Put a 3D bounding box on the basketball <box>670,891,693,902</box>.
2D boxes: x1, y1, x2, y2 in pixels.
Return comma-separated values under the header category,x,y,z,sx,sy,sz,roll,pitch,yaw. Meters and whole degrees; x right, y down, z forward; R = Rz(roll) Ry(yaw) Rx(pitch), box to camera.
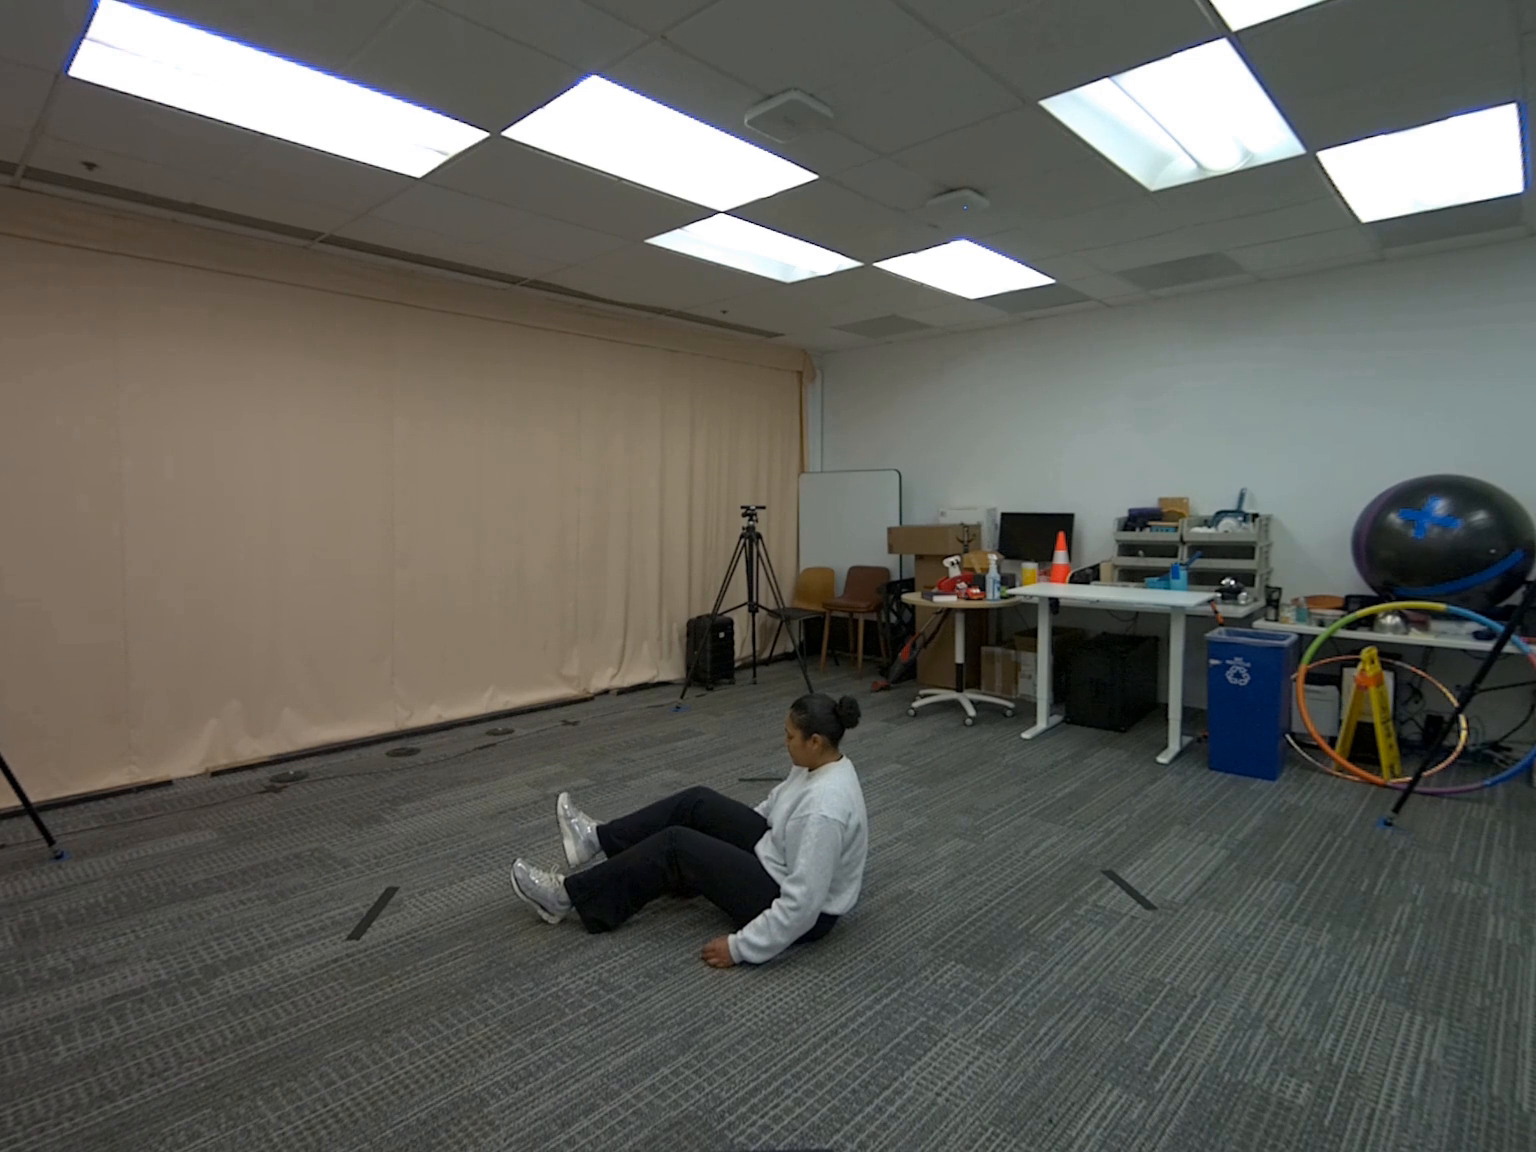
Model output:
category,x,y,z,sx,sy,sz,roll,pitch,yaw
basketball,-0.306,1.030,3.049,0.236,0.235,0.237,0,4,-2
